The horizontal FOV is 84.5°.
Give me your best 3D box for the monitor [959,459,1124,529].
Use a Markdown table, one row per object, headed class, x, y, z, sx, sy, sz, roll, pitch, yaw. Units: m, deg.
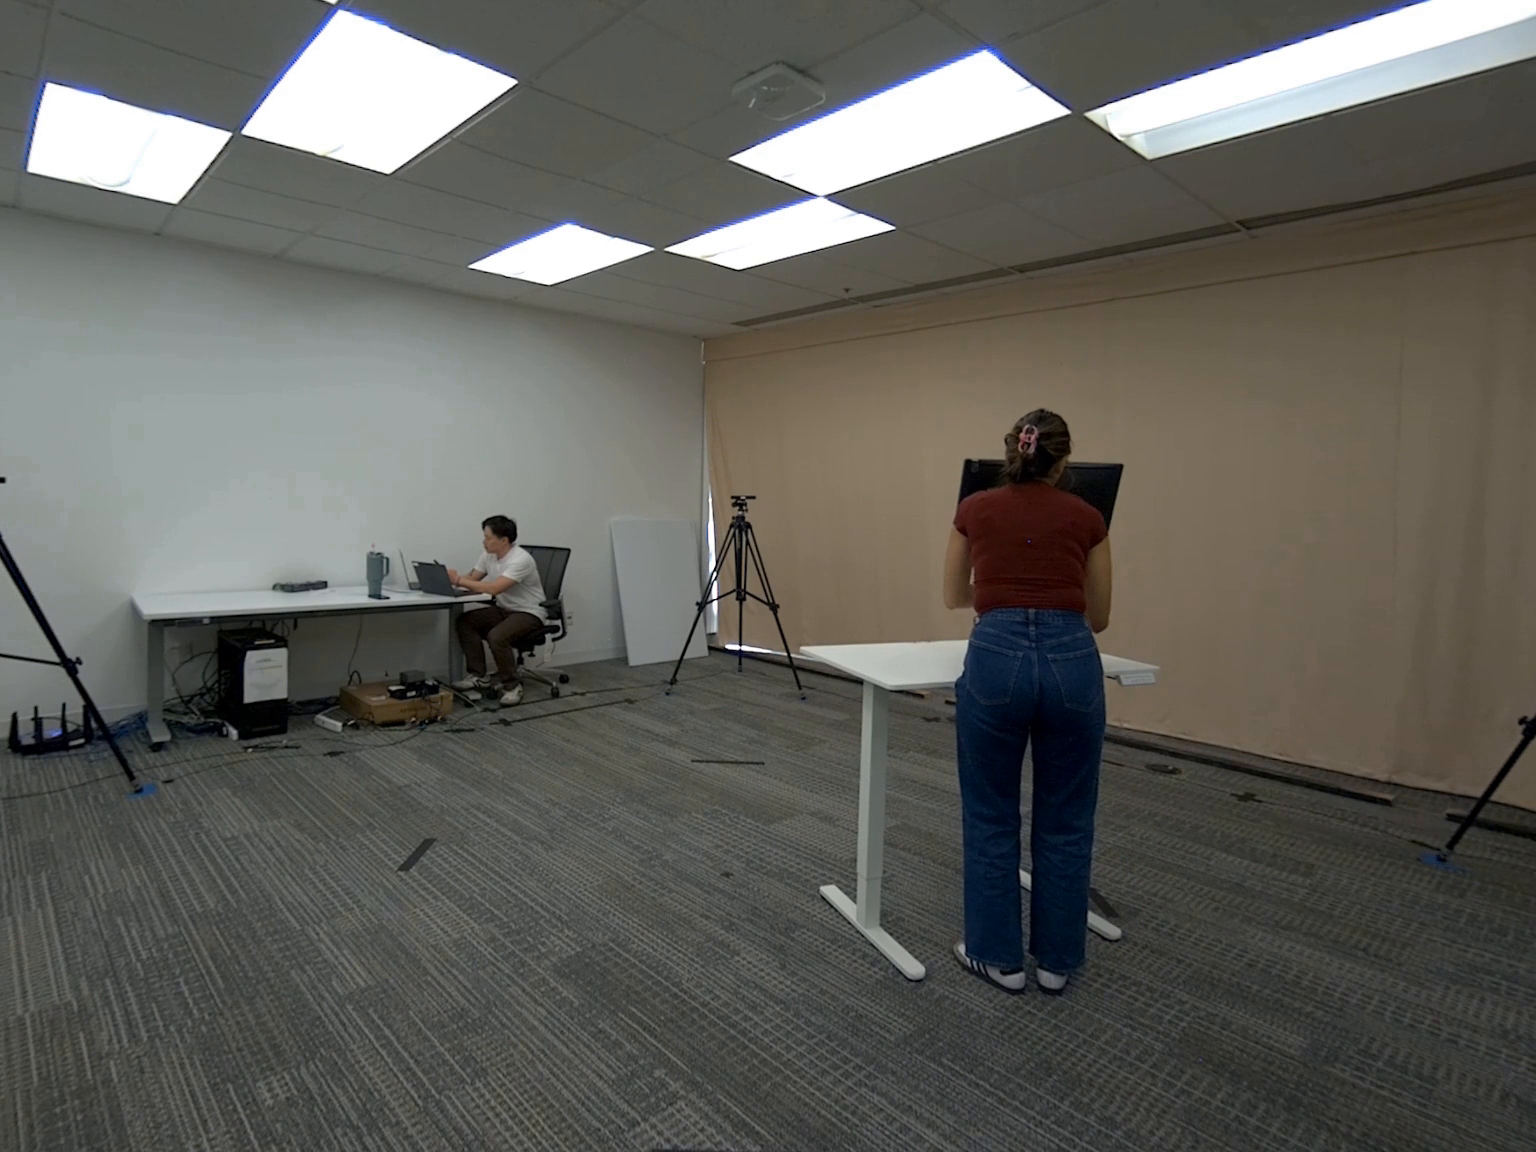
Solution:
| class | x | y | z | sx | sy | sz | roll | pitch | yaw |
| --- | --- | --- | --- | --- | --- | --- | --- | --- | --- |
| monitor | 0.897 | -0.112 | 2.742 | 0.535 | 0.520 | 0.189 | 0 | 5 | -9 |
